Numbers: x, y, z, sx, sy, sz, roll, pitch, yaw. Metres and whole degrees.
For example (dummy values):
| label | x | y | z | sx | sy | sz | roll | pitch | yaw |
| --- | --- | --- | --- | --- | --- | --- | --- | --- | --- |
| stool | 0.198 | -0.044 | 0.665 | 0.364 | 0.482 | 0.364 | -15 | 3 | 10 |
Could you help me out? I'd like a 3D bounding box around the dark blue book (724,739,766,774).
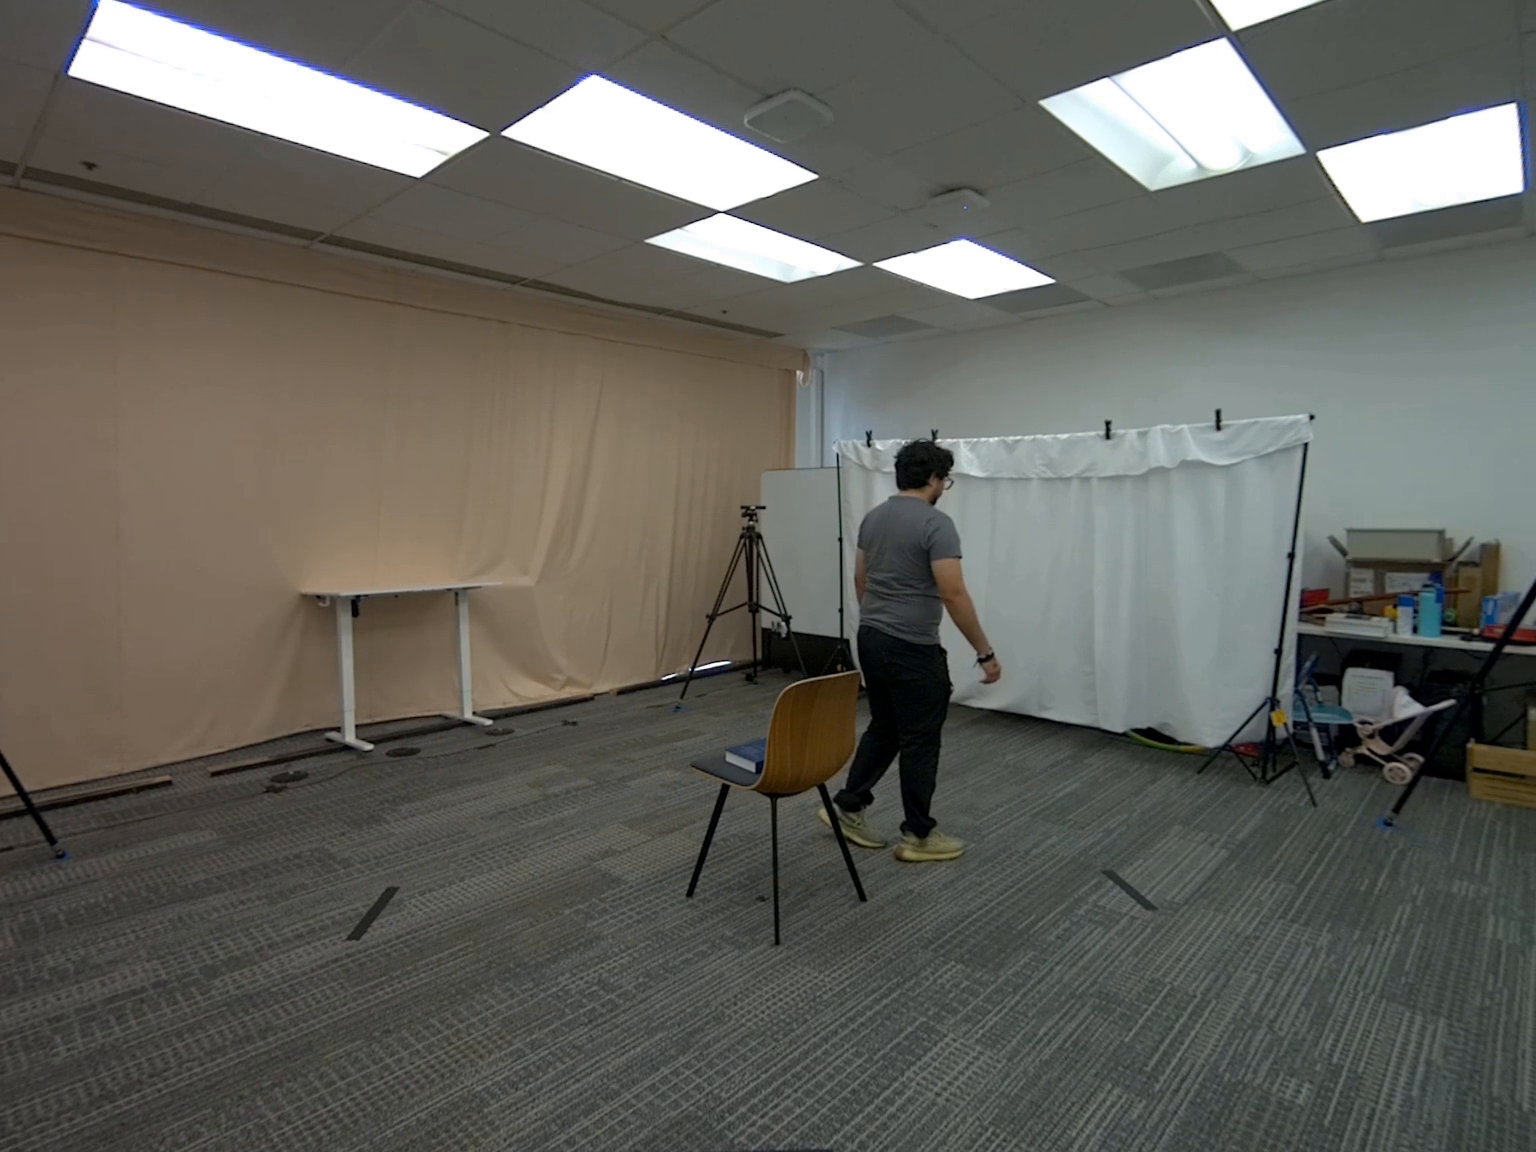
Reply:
| label | x | y | z | sx | sy | sz | roll | pitch | yaw |
| --- | --- | --- | --- | --- | --- | --- | --- | --- | --- |
| dark blue book | -0.013 | 0.634 | 3.010 | 0.237 | 0.045 | 0.169 | -5 | 10 | -44 |
